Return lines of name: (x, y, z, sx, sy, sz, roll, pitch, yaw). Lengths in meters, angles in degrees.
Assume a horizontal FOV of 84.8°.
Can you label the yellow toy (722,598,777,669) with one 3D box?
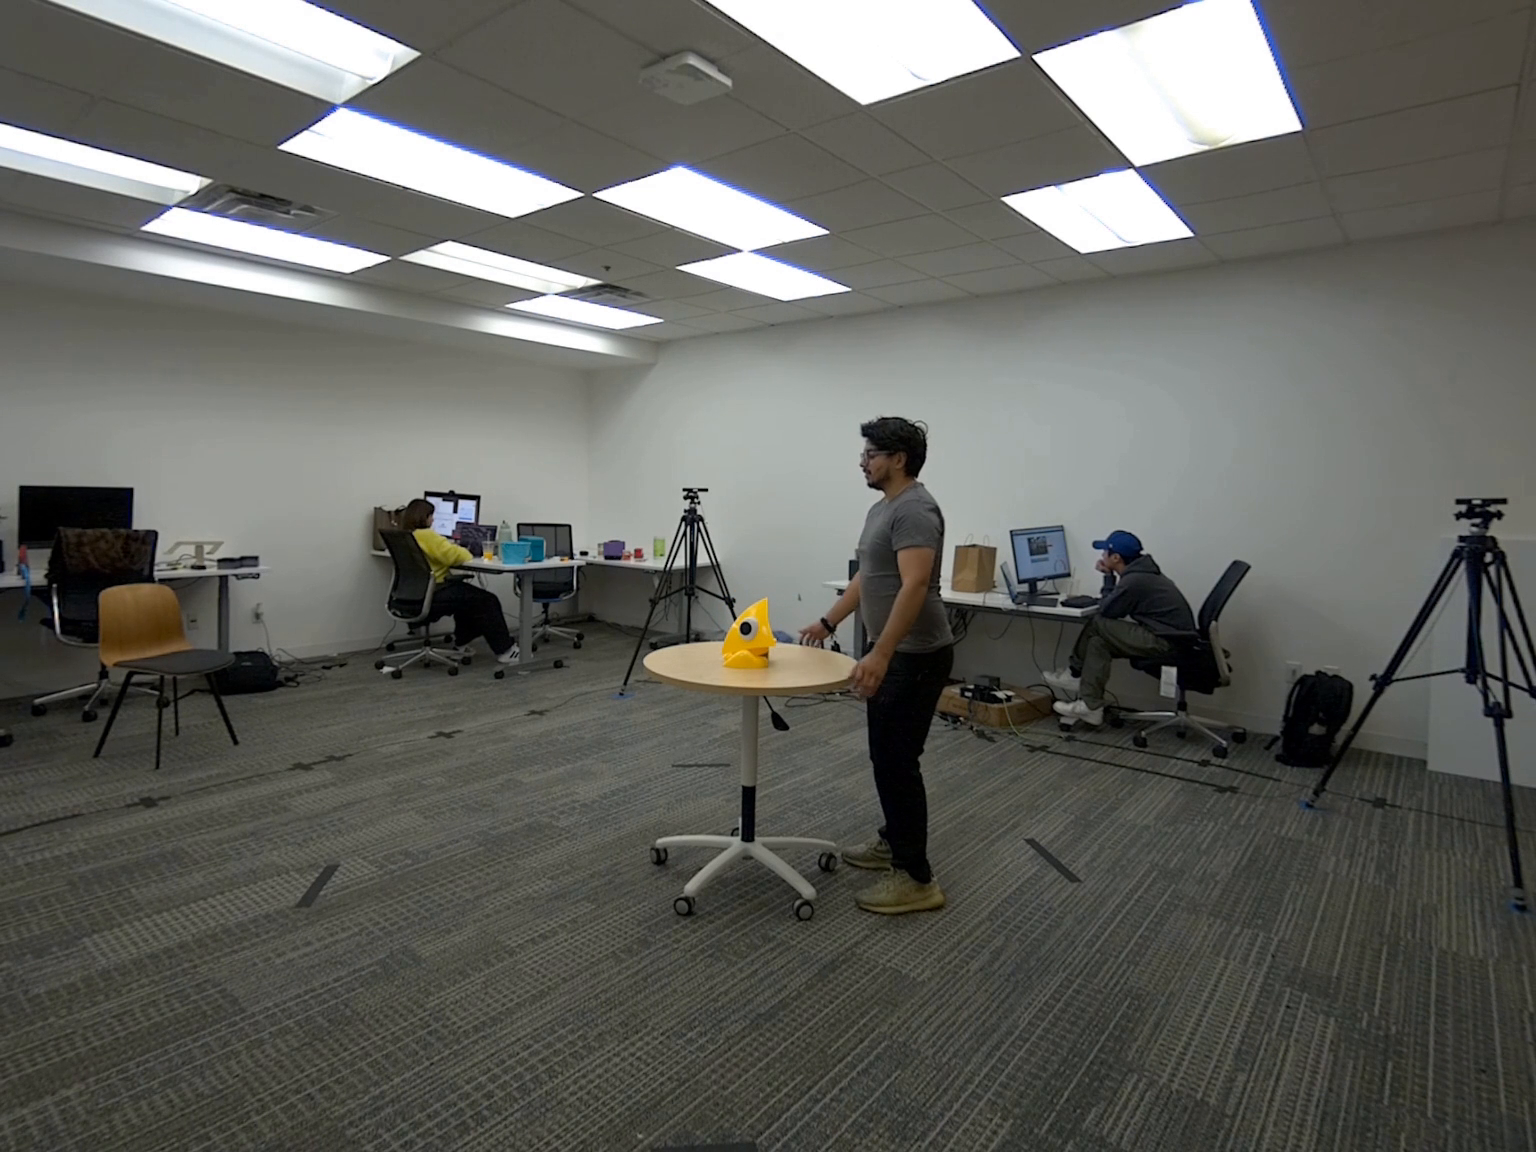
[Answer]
yellow toy: (-0.077, 0.187, 2.988, 0.193, 0.230, 0.205, 0, 4, 0)
